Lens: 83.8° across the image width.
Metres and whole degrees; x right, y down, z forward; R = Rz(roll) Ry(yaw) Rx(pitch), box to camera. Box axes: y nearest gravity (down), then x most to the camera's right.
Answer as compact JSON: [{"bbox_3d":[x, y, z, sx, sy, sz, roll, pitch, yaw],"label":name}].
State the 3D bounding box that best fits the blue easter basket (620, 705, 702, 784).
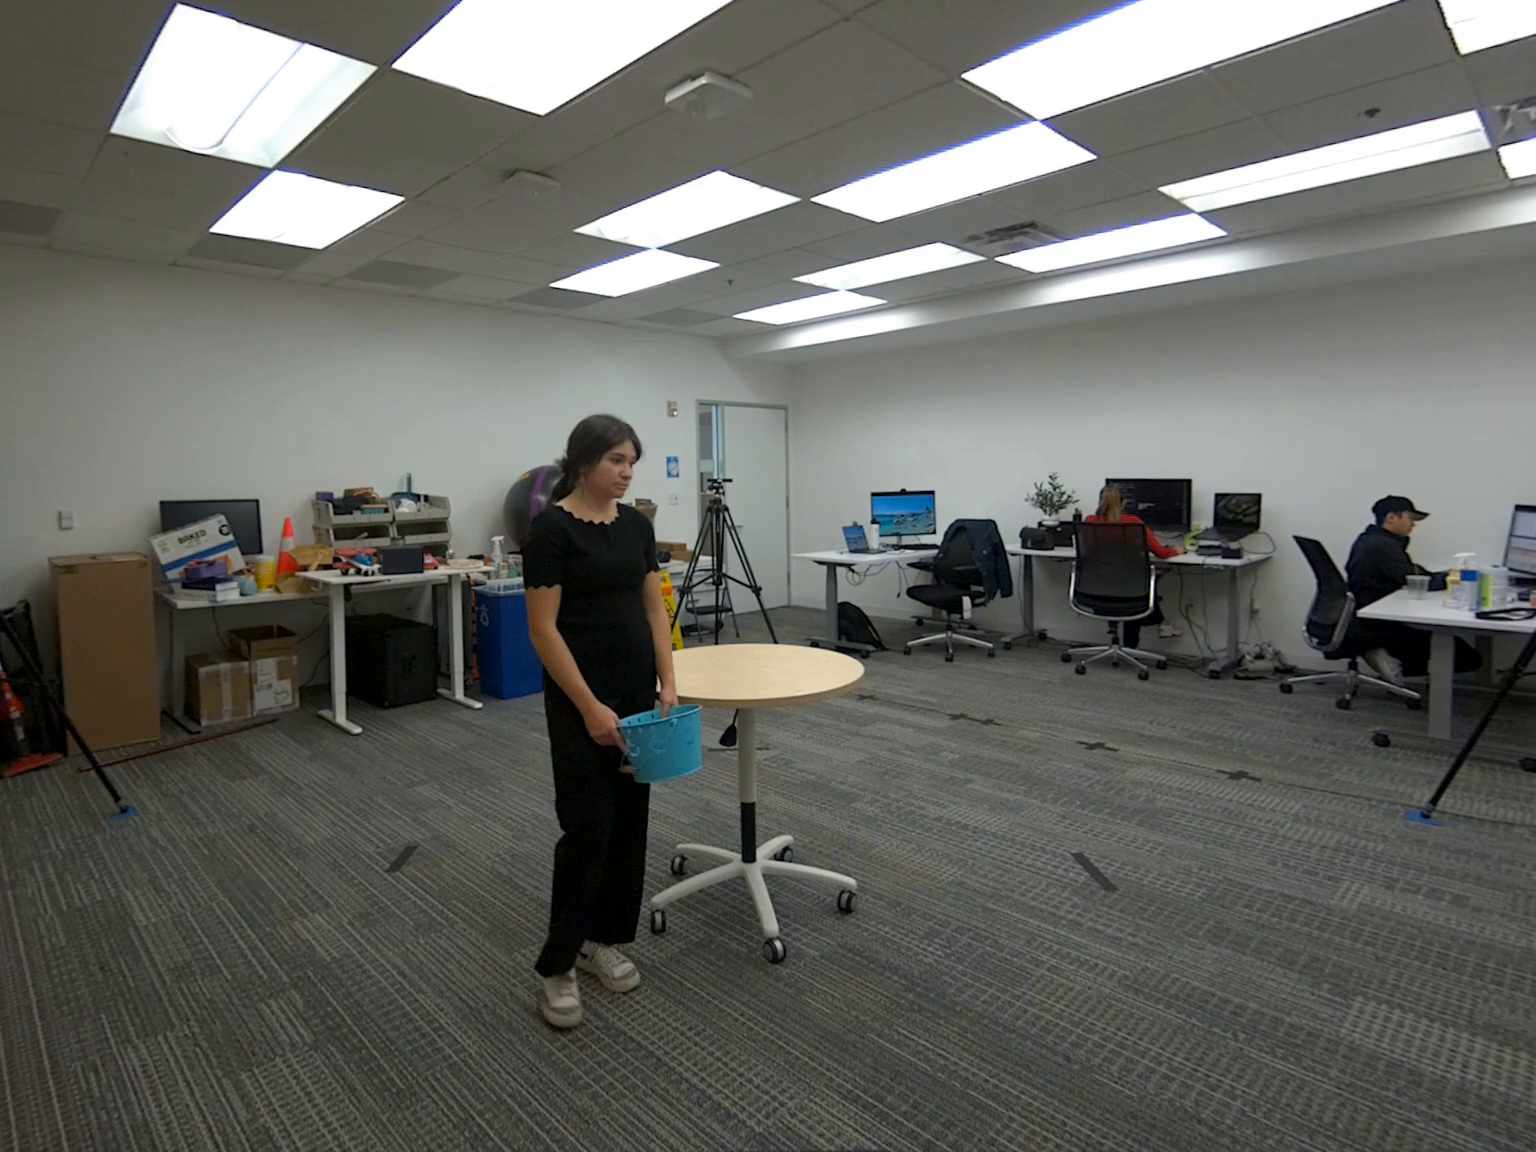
[{"bbox_3d":[-0.304,0.447,2.233,0.243,0.156,0.243,-9,-2,-2],"label":"blue easter basket"}]
